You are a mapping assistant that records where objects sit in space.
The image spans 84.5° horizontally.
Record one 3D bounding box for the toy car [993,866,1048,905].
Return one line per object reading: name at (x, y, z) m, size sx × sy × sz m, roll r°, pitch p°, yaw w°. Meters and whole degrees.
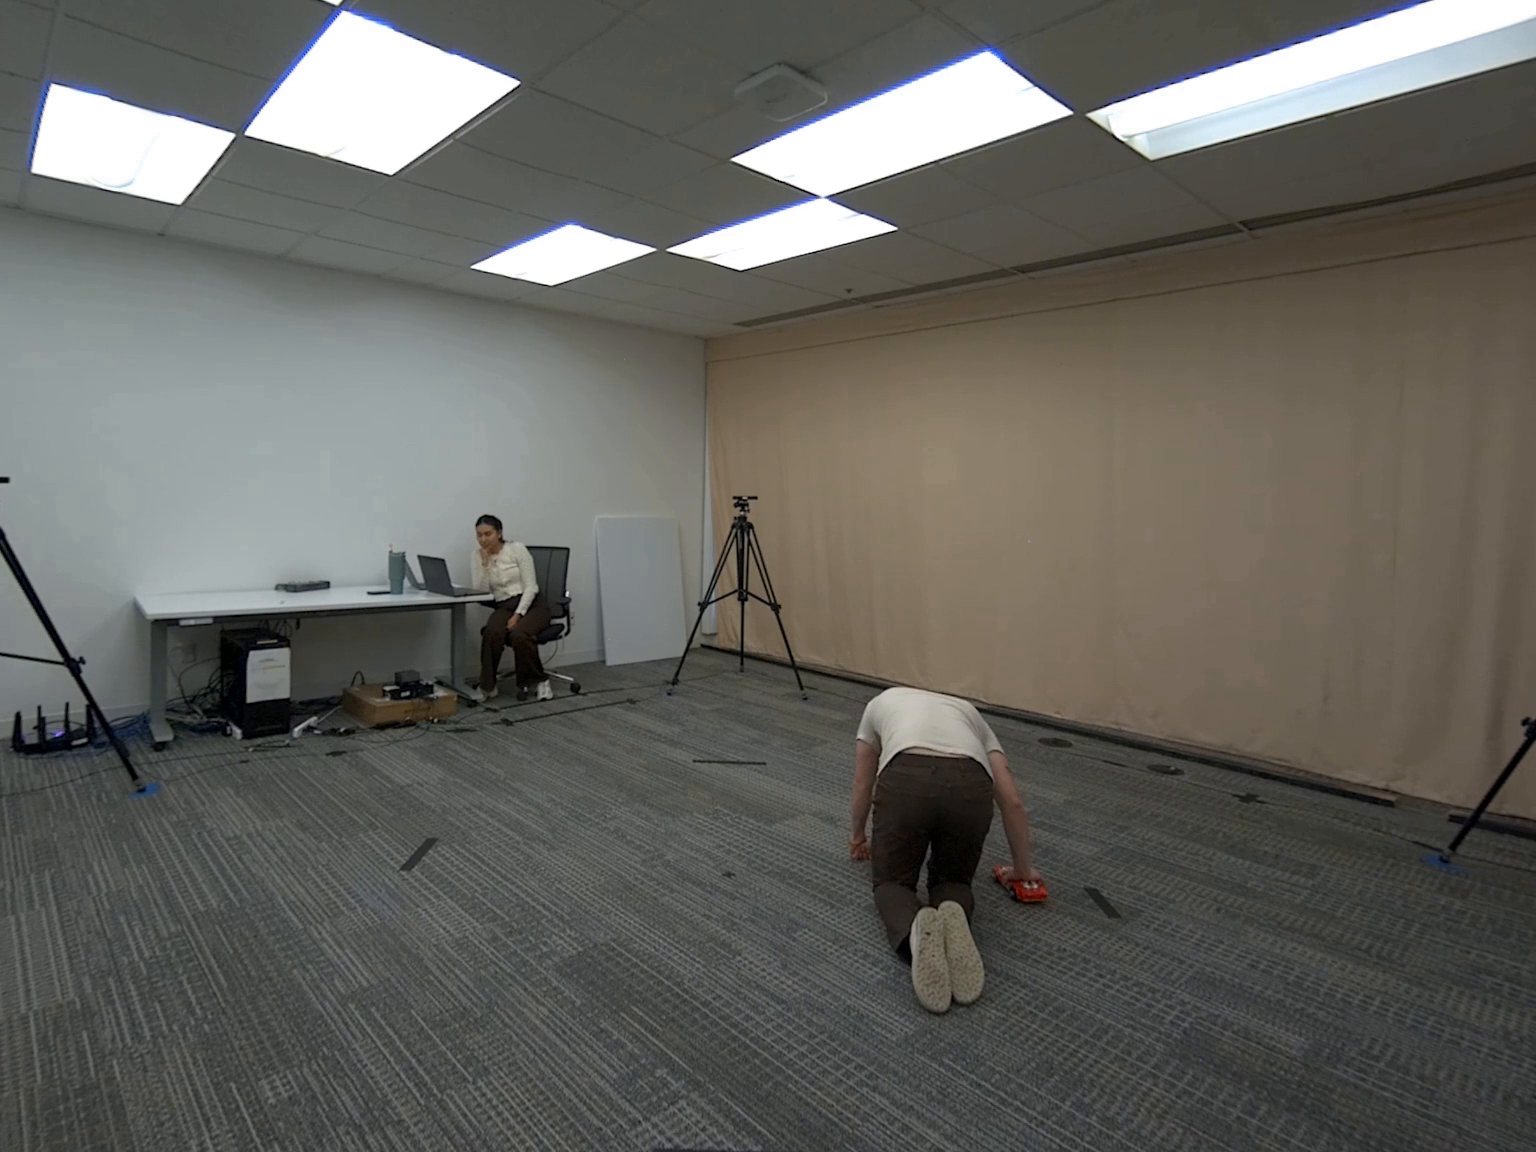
toy car at (0.897, 1.109, 3.027) m, size 0.129 × 0.083 × 0.255 m, roll 2°, pitch -5°, yaw -11°
